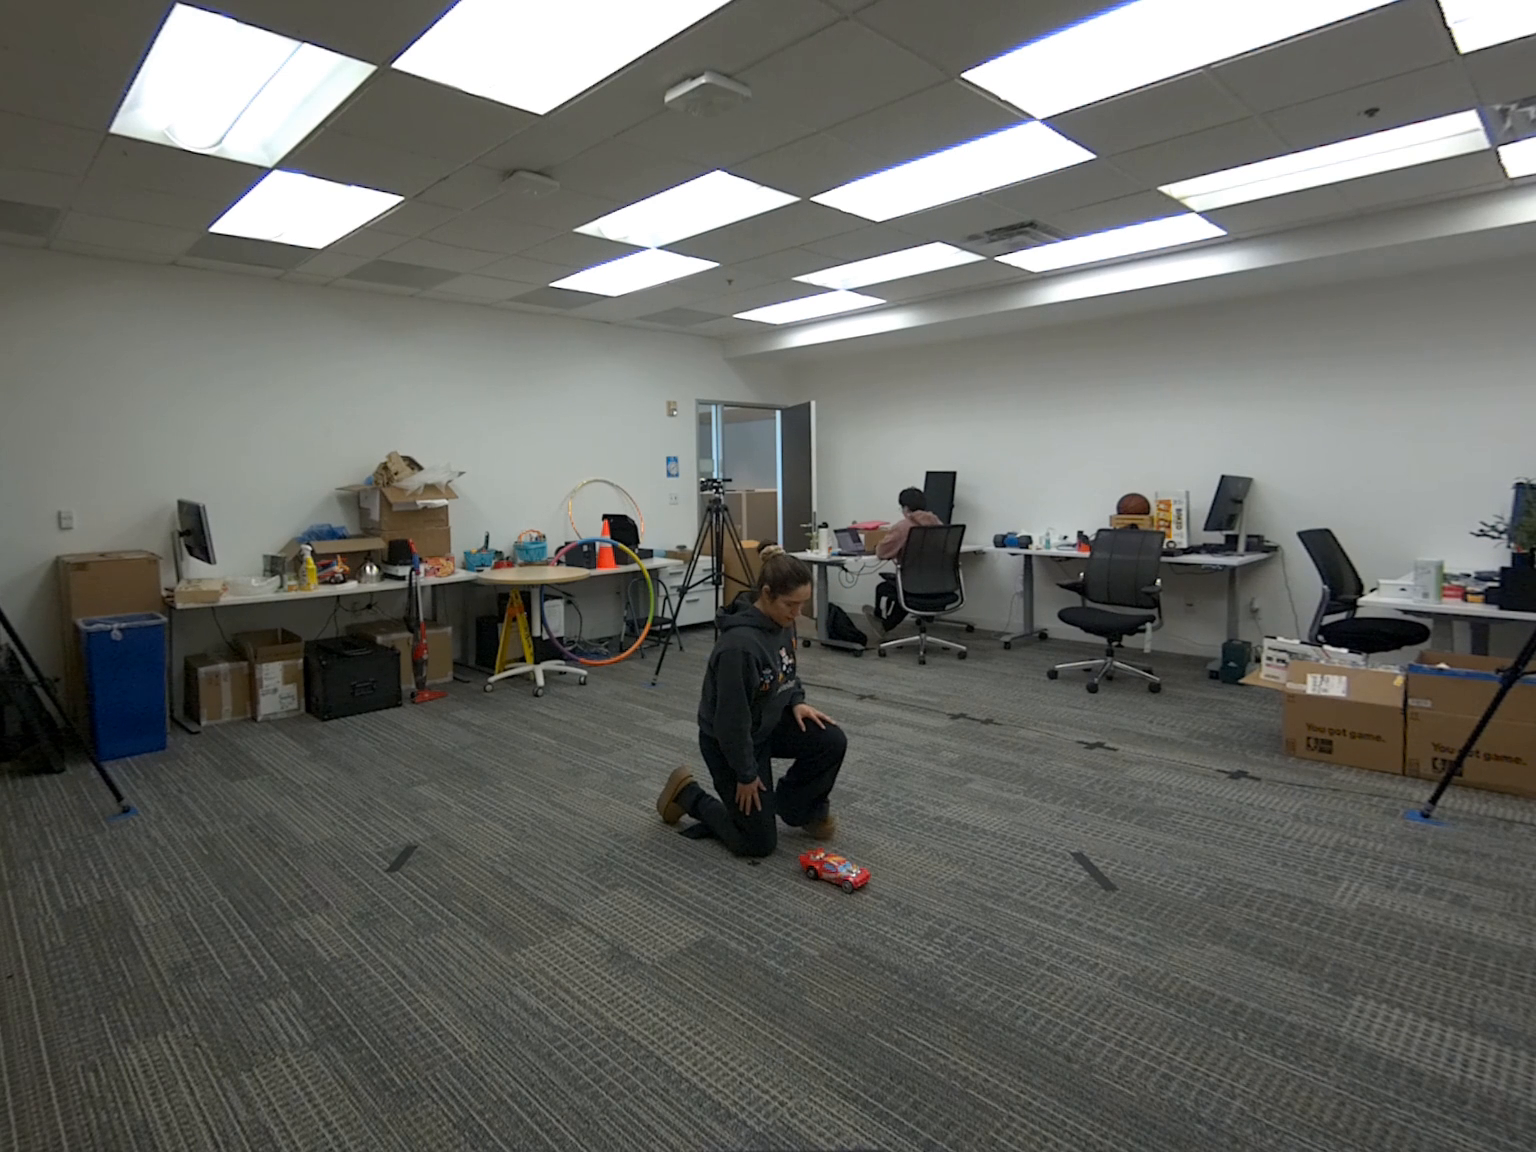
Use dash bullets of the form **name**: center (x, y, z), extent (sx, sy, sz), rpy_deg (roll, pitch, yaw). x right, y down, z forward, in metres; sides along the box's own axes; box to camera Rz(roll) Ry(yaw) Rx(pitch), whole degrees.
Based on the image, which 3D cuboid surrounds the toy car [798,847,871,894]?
- **toy car**: center (0.223, 1.025, 2.958), extent (0.264, 0.082, 0.127), rpy_deg (18, 17, 39)
